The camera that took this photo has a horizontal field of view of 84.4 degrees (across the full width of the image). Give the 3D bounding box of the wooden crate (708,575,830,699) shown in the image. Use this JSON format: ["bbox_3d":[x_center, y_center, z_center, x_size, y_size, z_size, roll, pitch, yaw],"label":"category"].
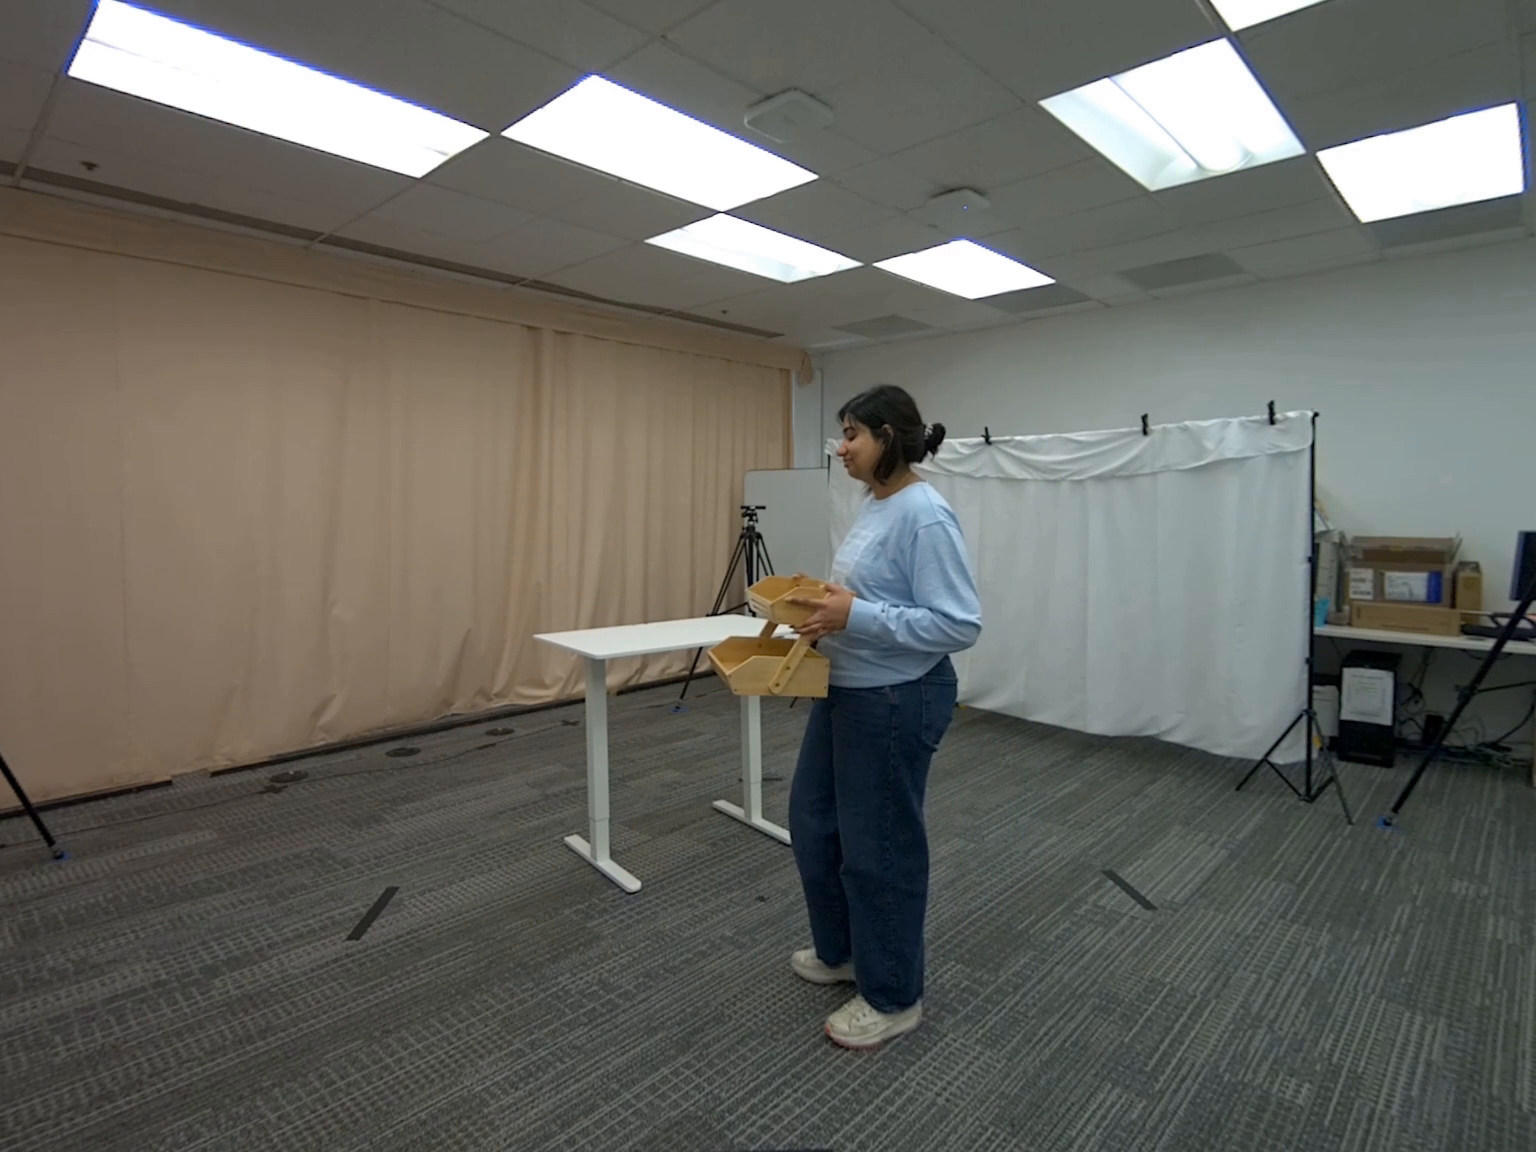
[{"bbox_3d":[0.012,0.143,2.151,0.299,0.272,0.328,4,5,-9],"label":"wooden crate"}]
